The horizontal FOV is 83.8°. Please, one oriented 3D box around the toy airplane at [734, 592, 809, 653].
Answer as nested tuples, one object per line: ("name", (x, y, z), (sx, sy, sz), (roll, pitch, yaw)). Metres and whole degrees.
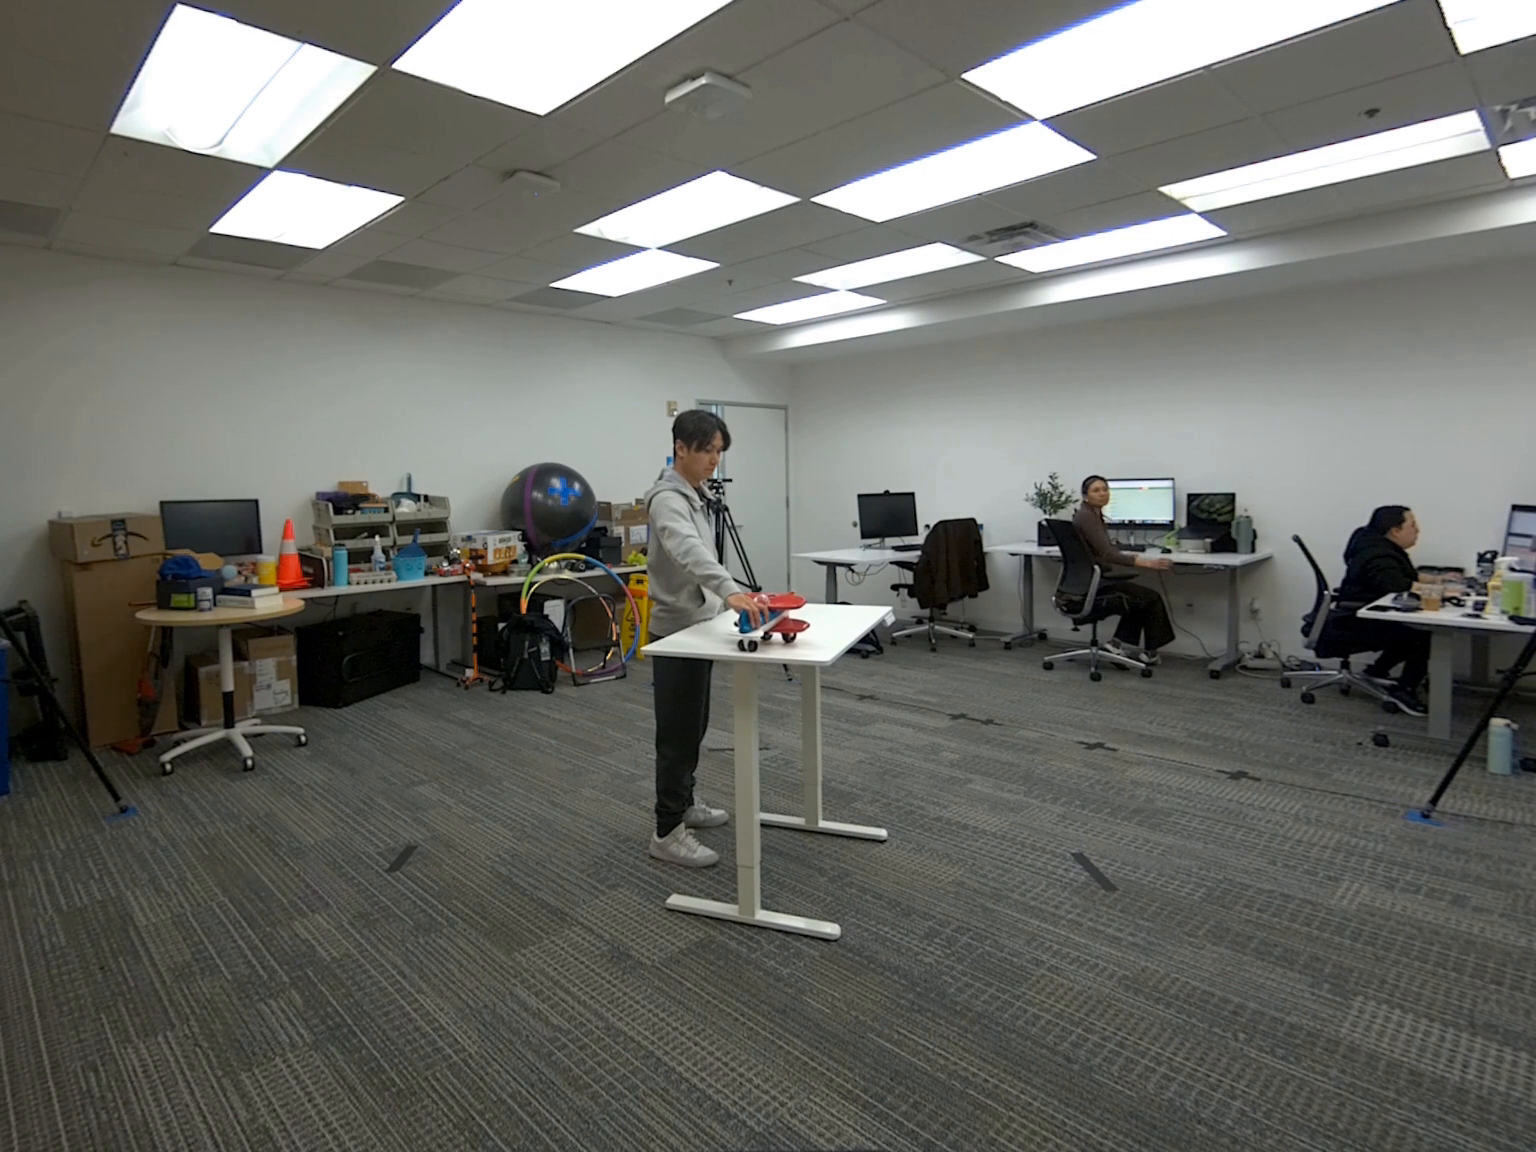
("toy airplane", (0.005, 0.140, 2.640), (0.252, 0.156, 0.259), (-2, 5, 3))
